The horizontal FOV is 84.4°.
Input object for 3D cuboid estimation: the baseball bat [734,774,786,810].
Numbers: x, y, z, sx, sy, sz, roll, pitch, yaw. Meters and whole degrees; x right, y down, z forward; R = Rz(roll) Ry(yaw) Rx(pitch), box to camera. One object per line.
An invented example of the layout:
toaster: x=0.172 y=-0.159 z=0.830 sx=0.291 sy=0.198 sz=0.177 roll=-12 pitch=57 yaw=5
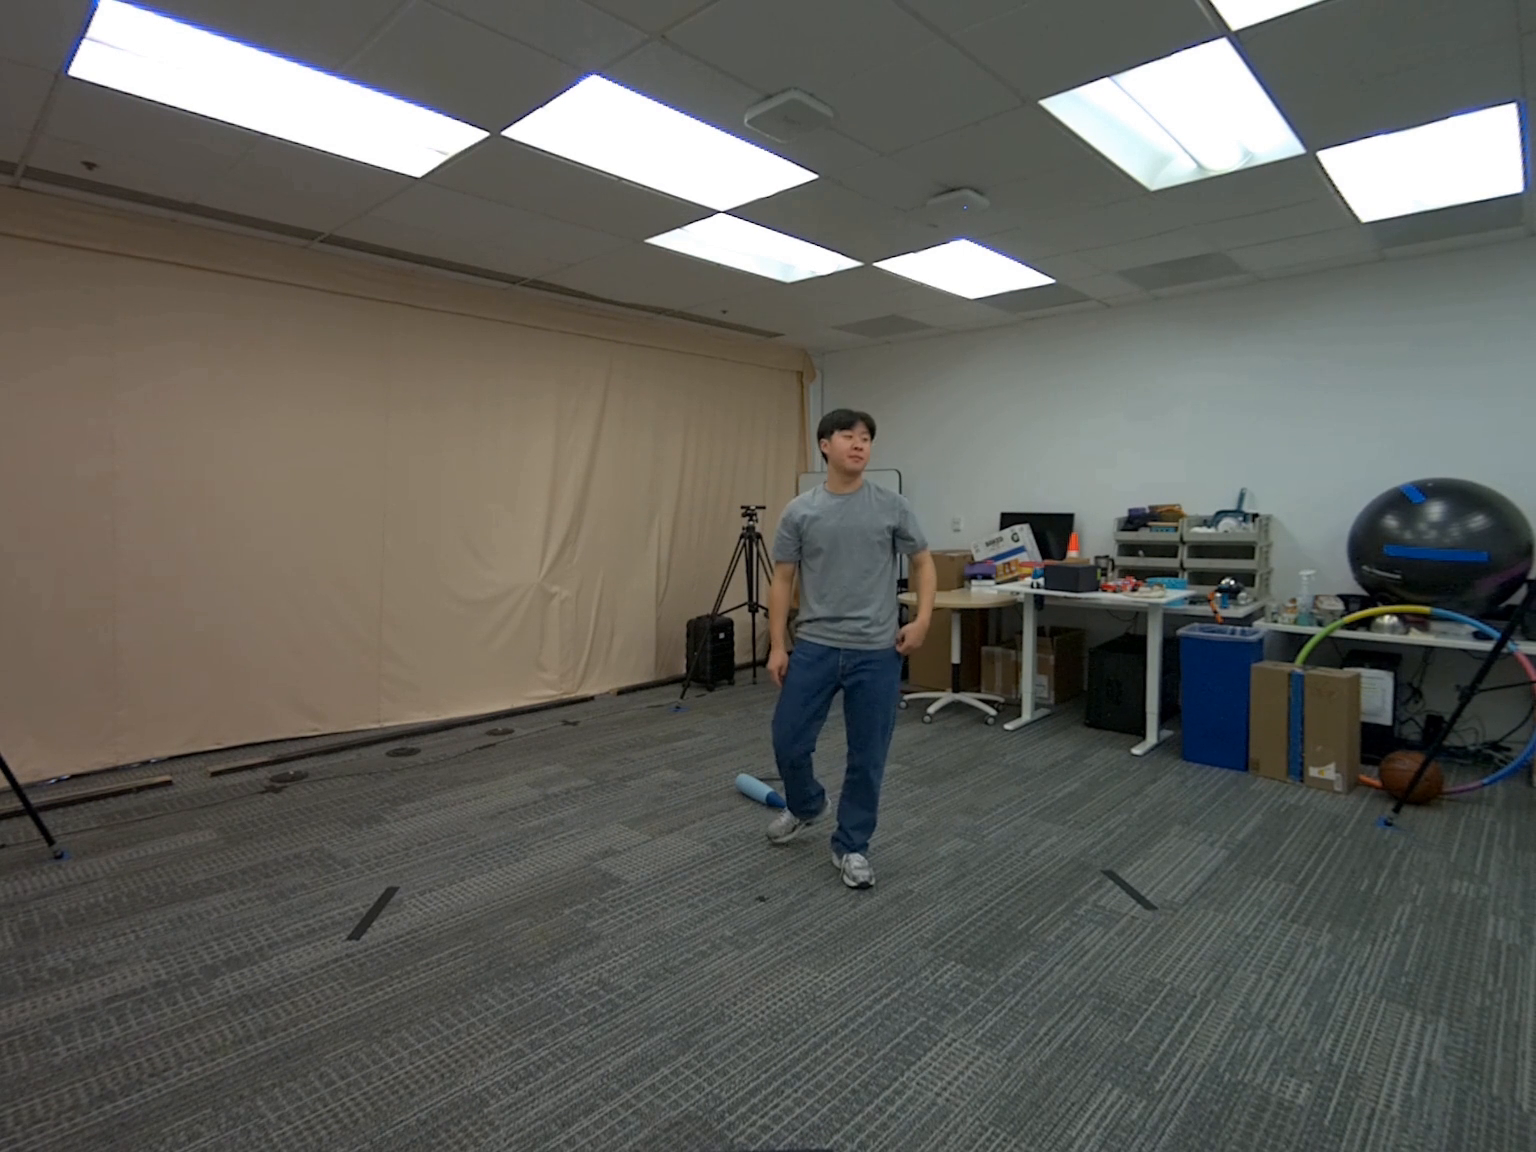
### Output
baseball bat: x=0.031 y=1.036 z=3.890 sx=0.086 sy=0.089 sz=0.561 roll=-3 pitch=9 yaw=-35
